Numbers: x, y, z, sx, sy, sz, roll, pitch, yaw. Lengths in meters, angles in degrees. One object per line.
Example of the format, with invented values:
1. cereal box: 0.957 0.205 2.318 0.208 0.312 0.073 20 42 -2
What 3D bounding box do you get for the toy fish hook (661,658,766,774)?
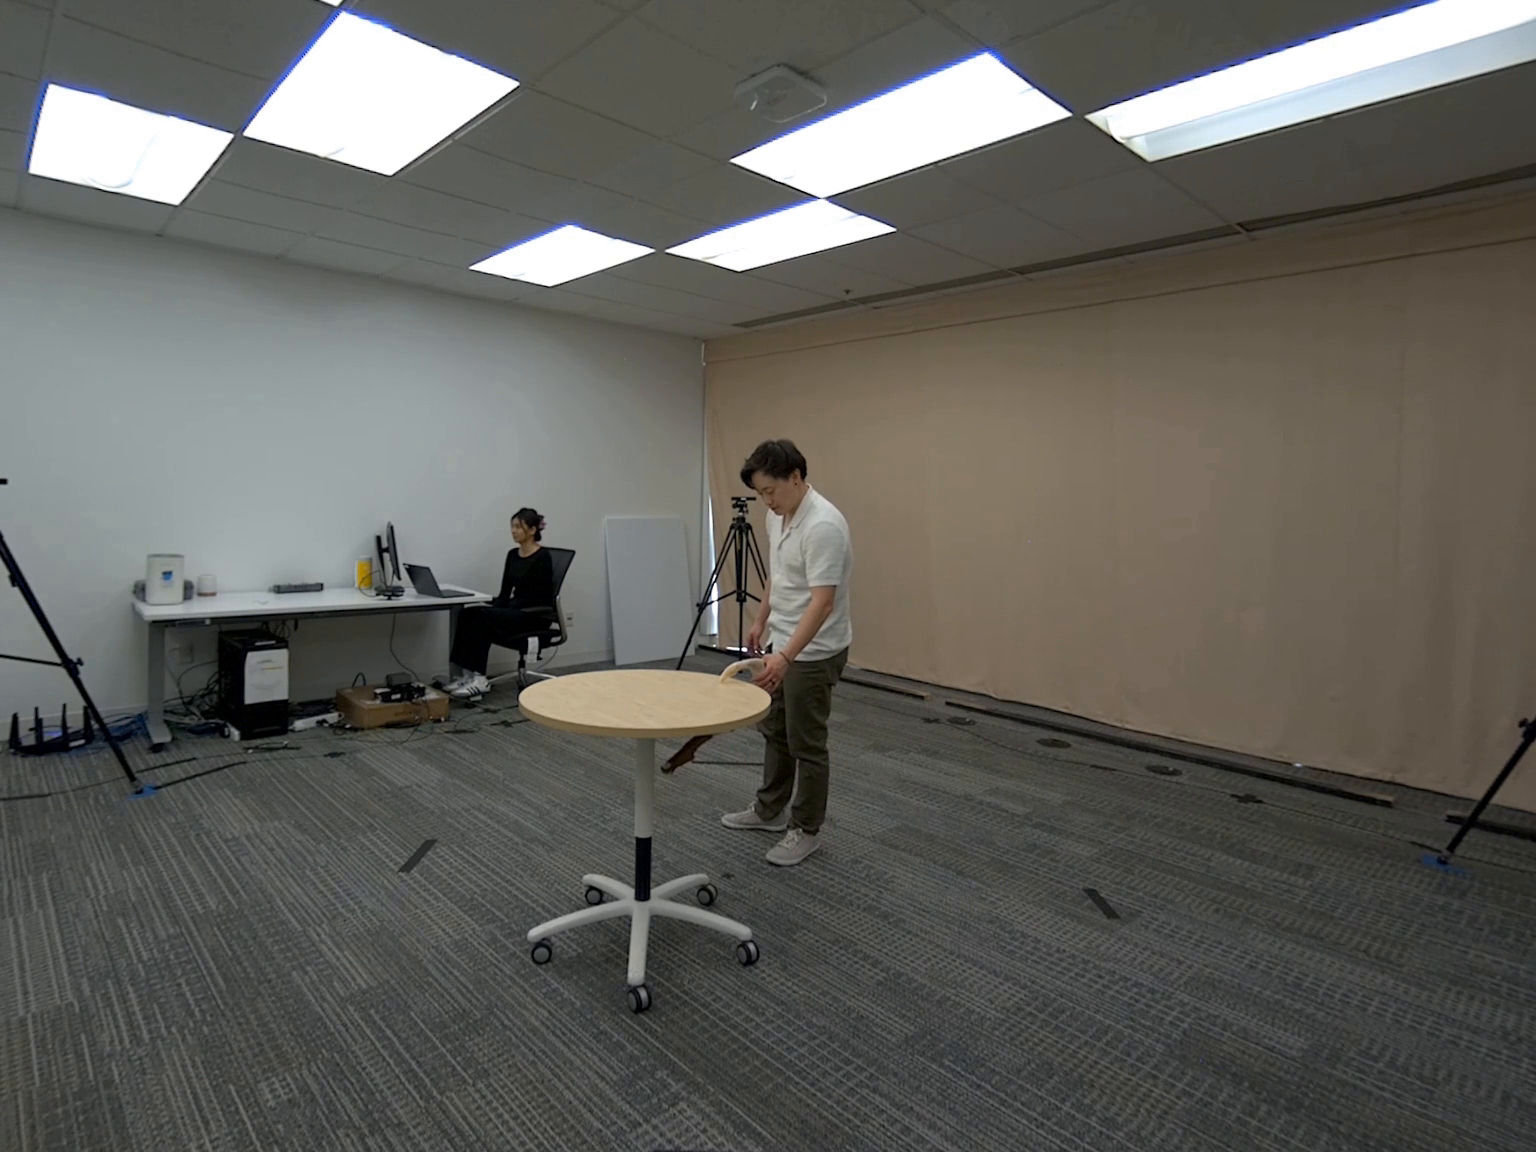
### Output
1. toy fish hook: -0.188 0.456 2.786 0.503 0.220 0.049 -36 26 -34
